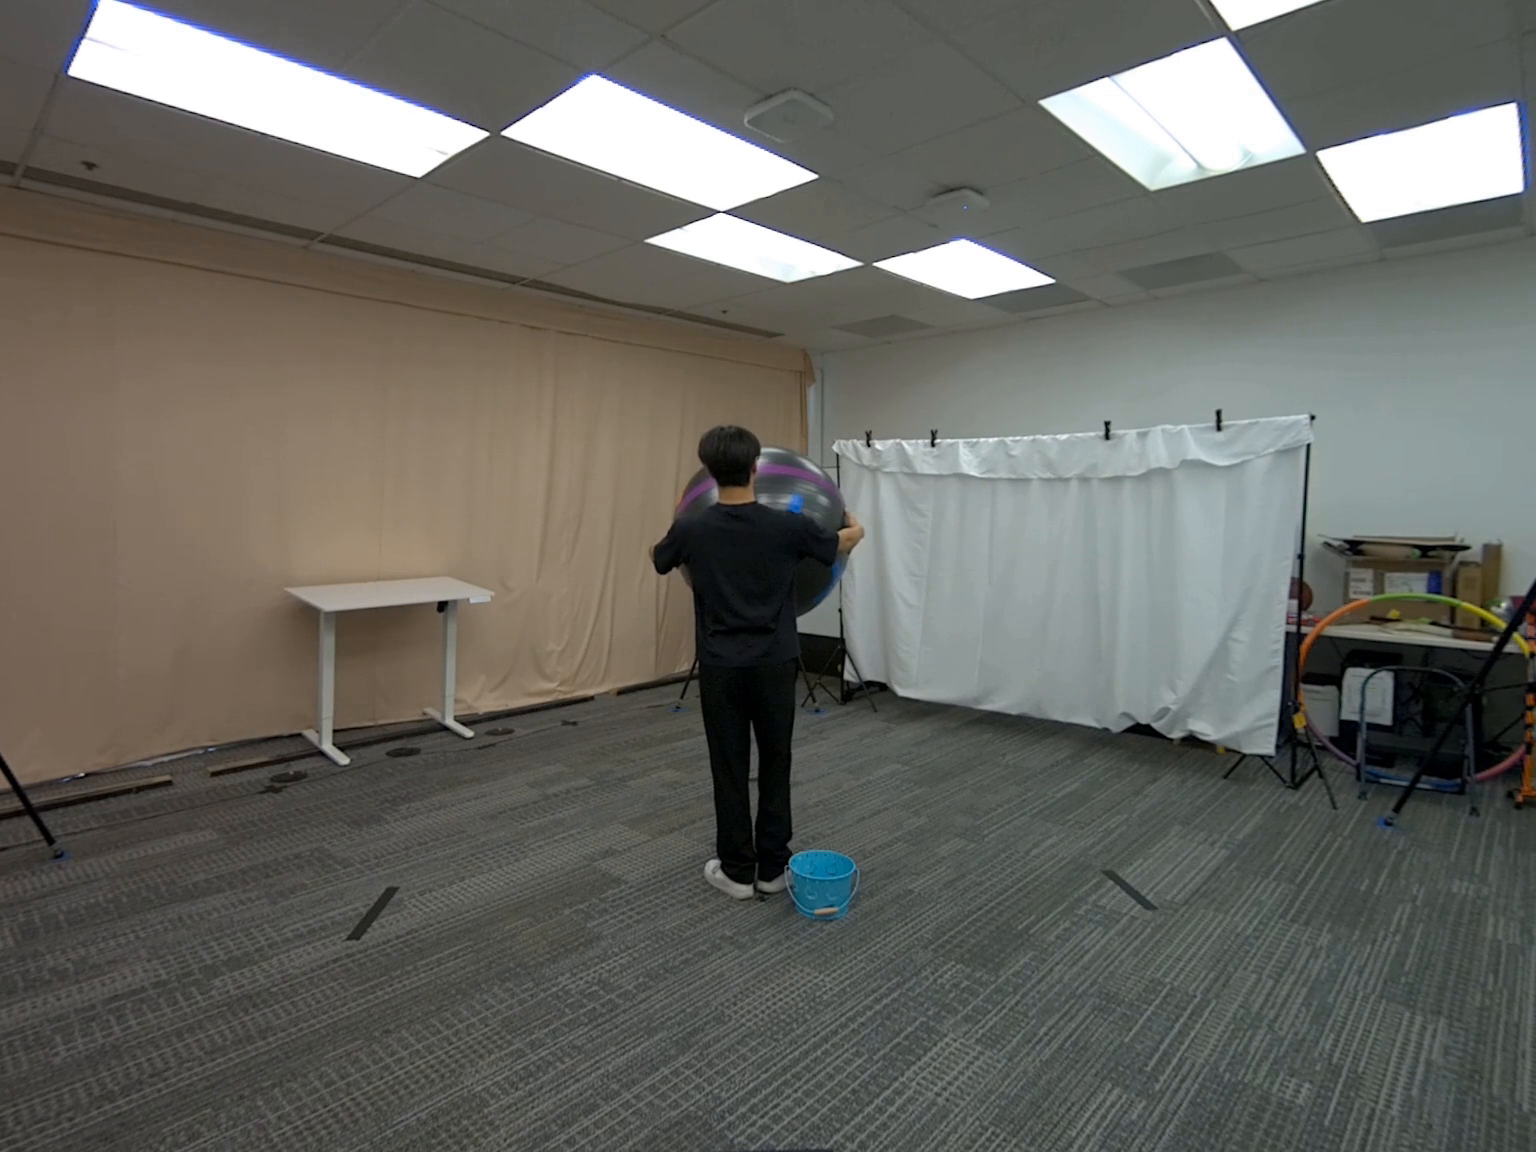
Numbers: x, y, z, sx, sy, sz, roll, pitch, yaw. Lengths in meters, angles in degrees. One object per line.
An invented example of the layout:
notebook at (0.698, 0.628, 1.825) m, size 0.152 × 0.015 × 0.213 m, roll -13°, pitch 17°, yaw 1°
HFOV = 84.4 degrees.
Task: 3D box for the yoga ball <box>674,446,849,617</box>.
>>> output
yoga ball at (-0.027, -0.169, 3.593) m, size 0.757 × 0.756 × 0.761 m, roll 0°, pitch 4°, yaw -2°
